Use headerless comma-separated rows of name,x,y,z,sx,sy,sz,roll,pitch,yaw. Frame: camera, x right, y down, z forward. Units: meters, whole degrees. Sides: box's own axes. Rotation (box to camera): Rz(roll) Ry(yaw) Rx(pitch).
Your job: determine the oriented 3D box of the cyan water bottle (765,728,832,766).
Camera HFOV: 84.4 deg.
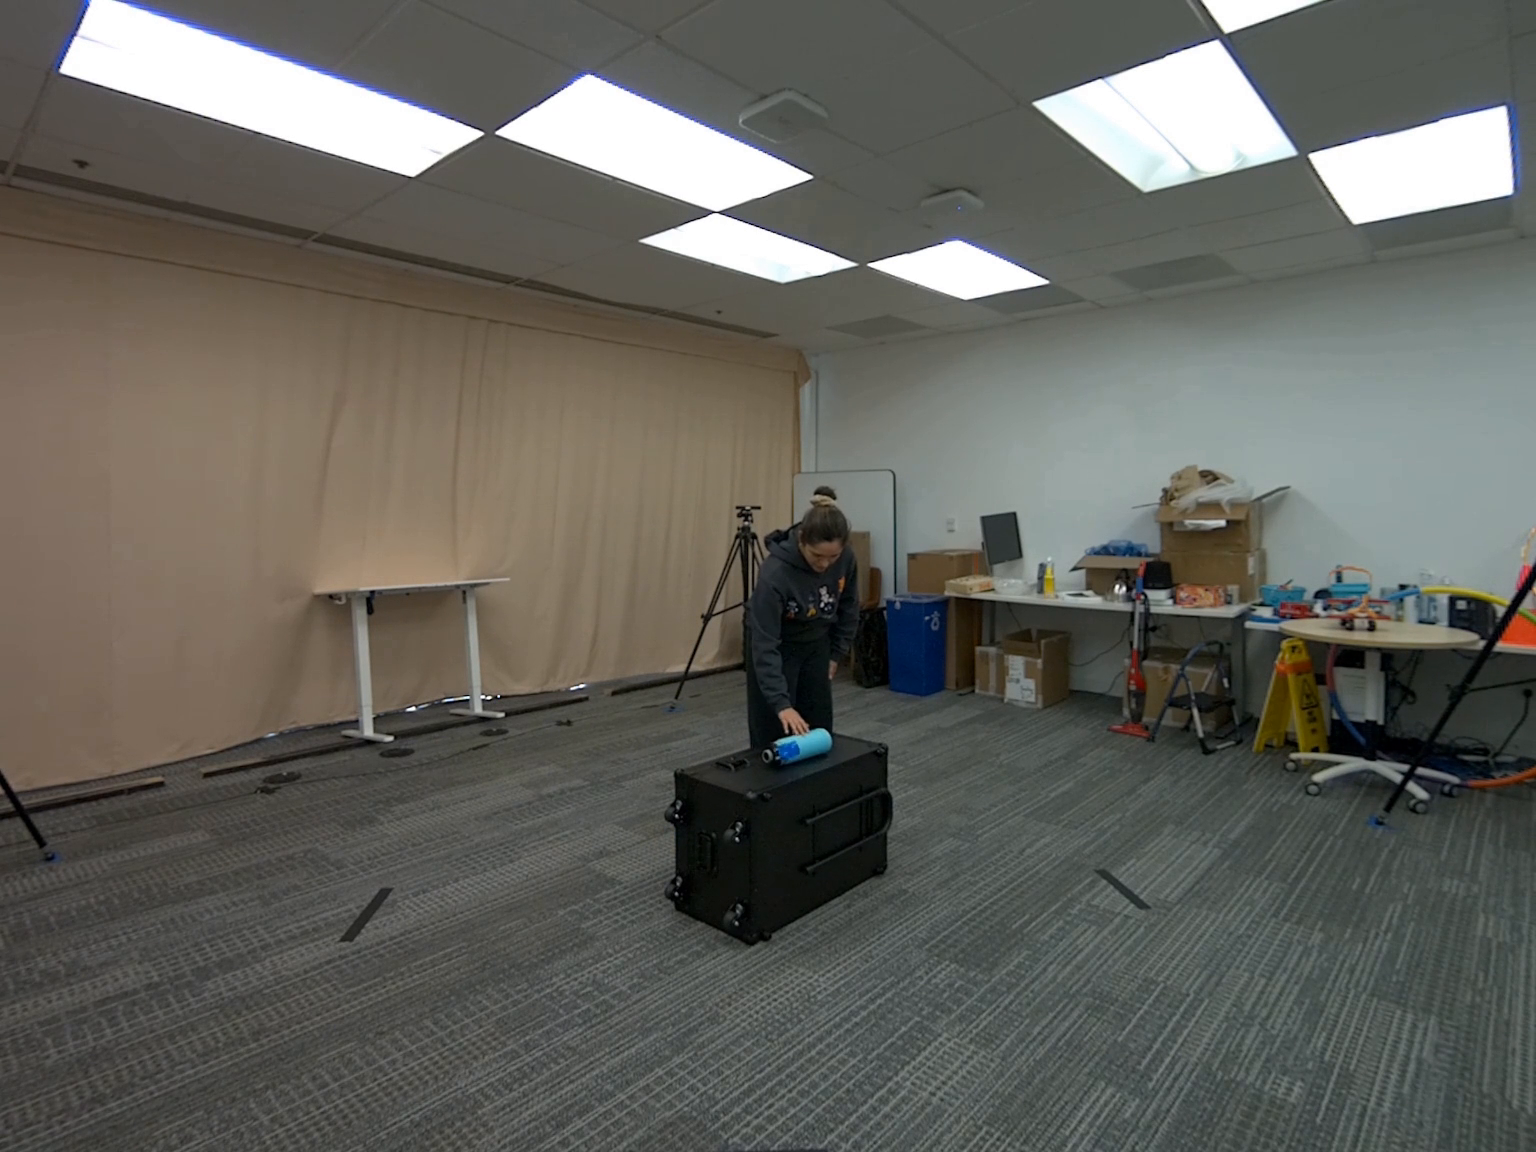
cyan water bottle,0.115,0.603,3.008,0.275,0.092,0.095,-6,7,-43
